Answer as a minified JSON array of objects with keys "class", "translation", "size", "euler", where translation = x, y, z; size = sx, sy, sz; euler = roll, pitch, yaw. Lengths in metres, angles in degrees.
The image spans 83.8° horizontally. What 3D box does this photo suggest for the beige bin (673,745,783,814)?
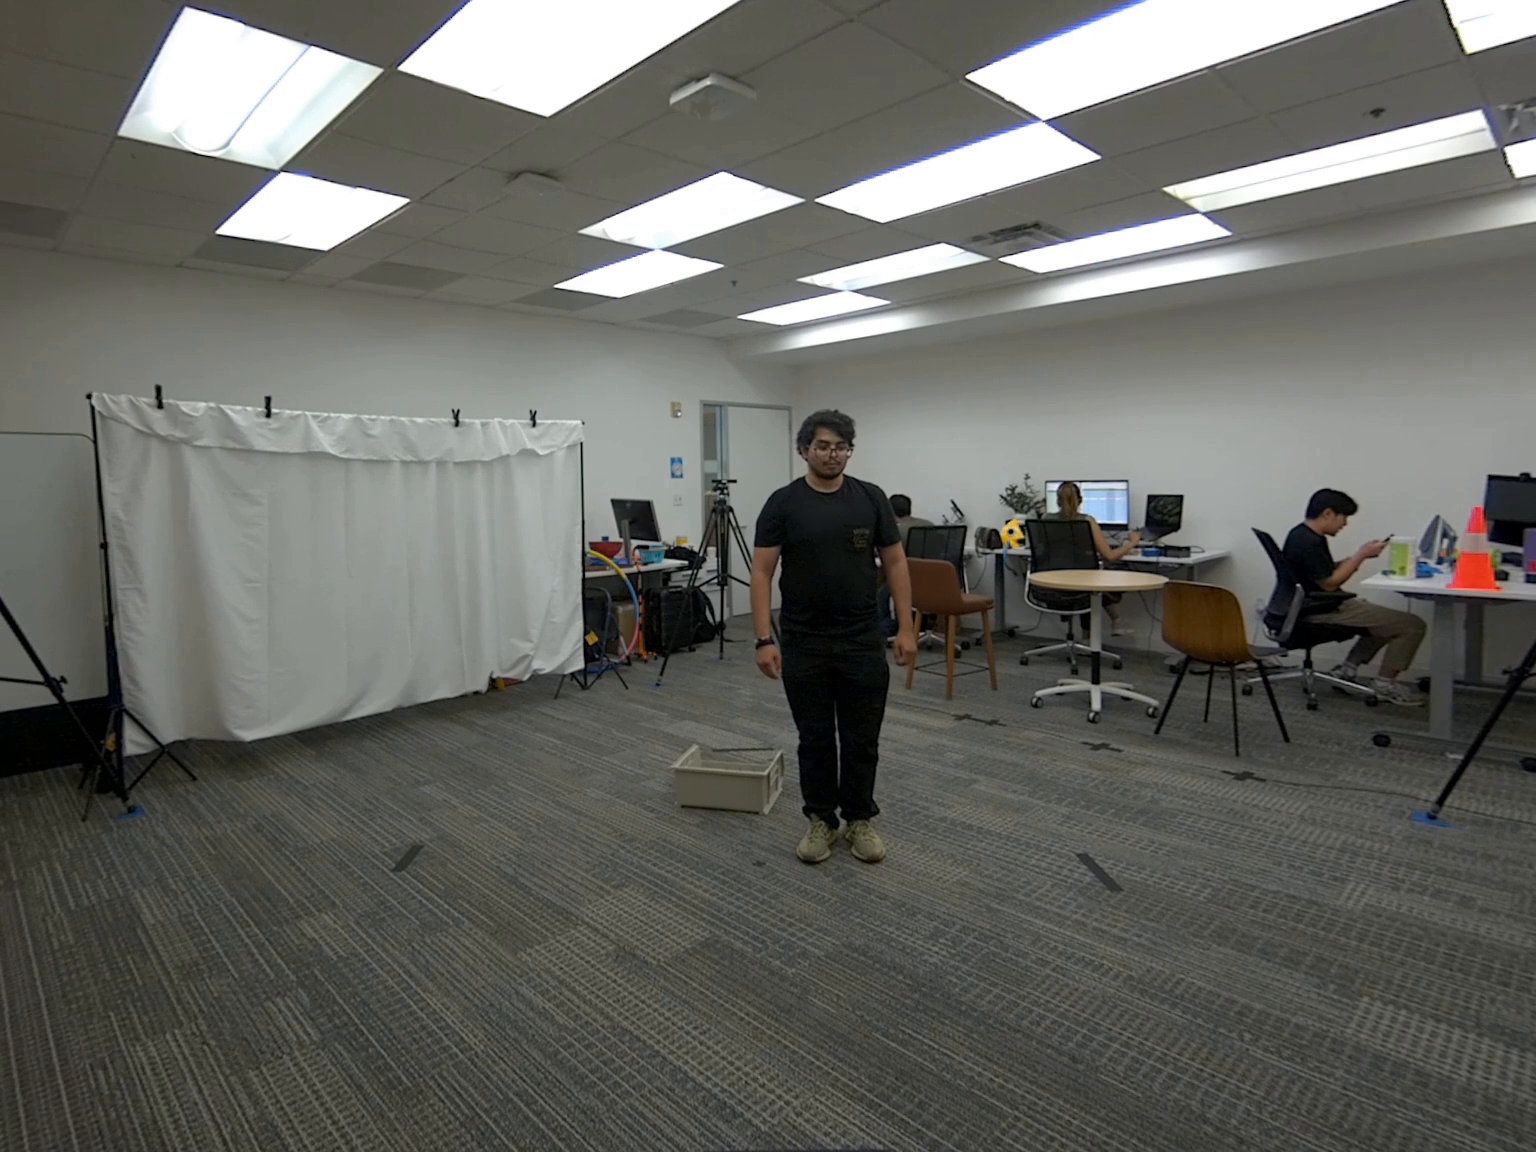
[{"class":"beige bin","translation":[-0.169,0.888,3.783],"size":[0.429,0.188,0.374],"euler":[1,7,15]}]
